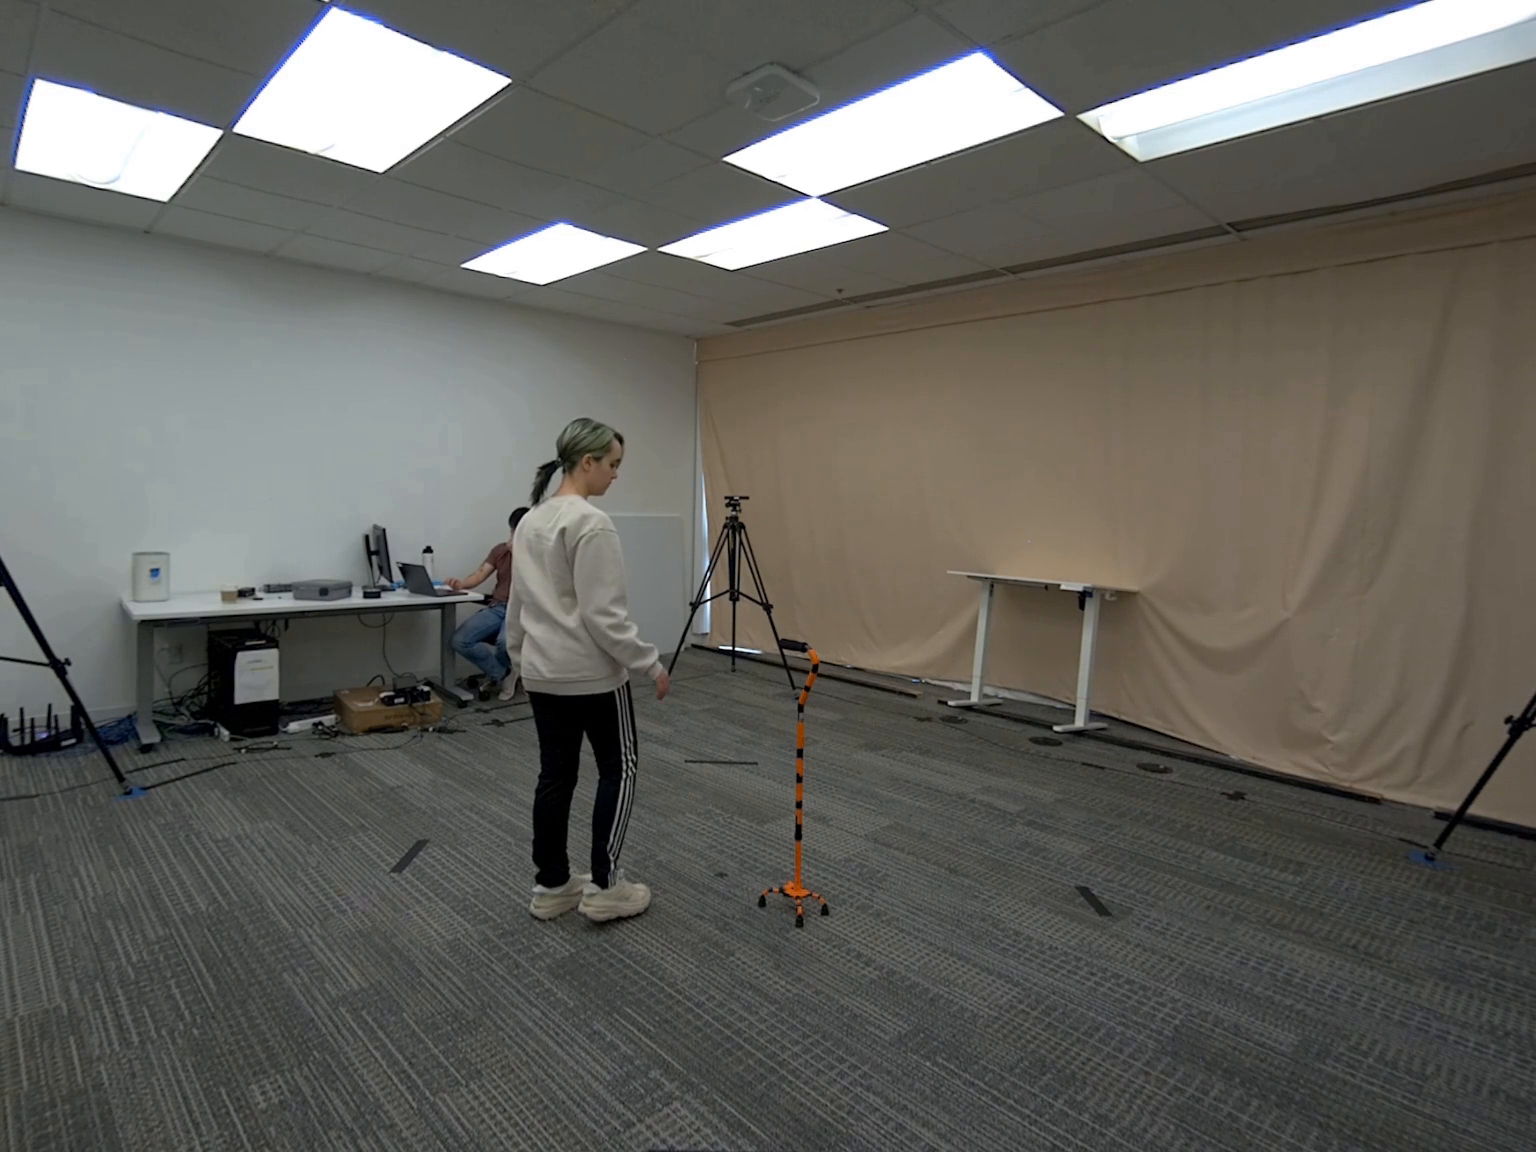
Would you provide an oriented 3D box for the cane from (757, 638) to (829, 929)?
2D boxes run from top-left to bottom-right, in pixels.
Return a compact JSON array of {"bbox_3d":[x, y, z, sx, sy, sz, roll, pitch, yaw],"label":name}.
[{"bbox_3d":[0.093,0.679,2.836,0.148,0.907,0.212,1,2,-42],"label":"cane"}]
